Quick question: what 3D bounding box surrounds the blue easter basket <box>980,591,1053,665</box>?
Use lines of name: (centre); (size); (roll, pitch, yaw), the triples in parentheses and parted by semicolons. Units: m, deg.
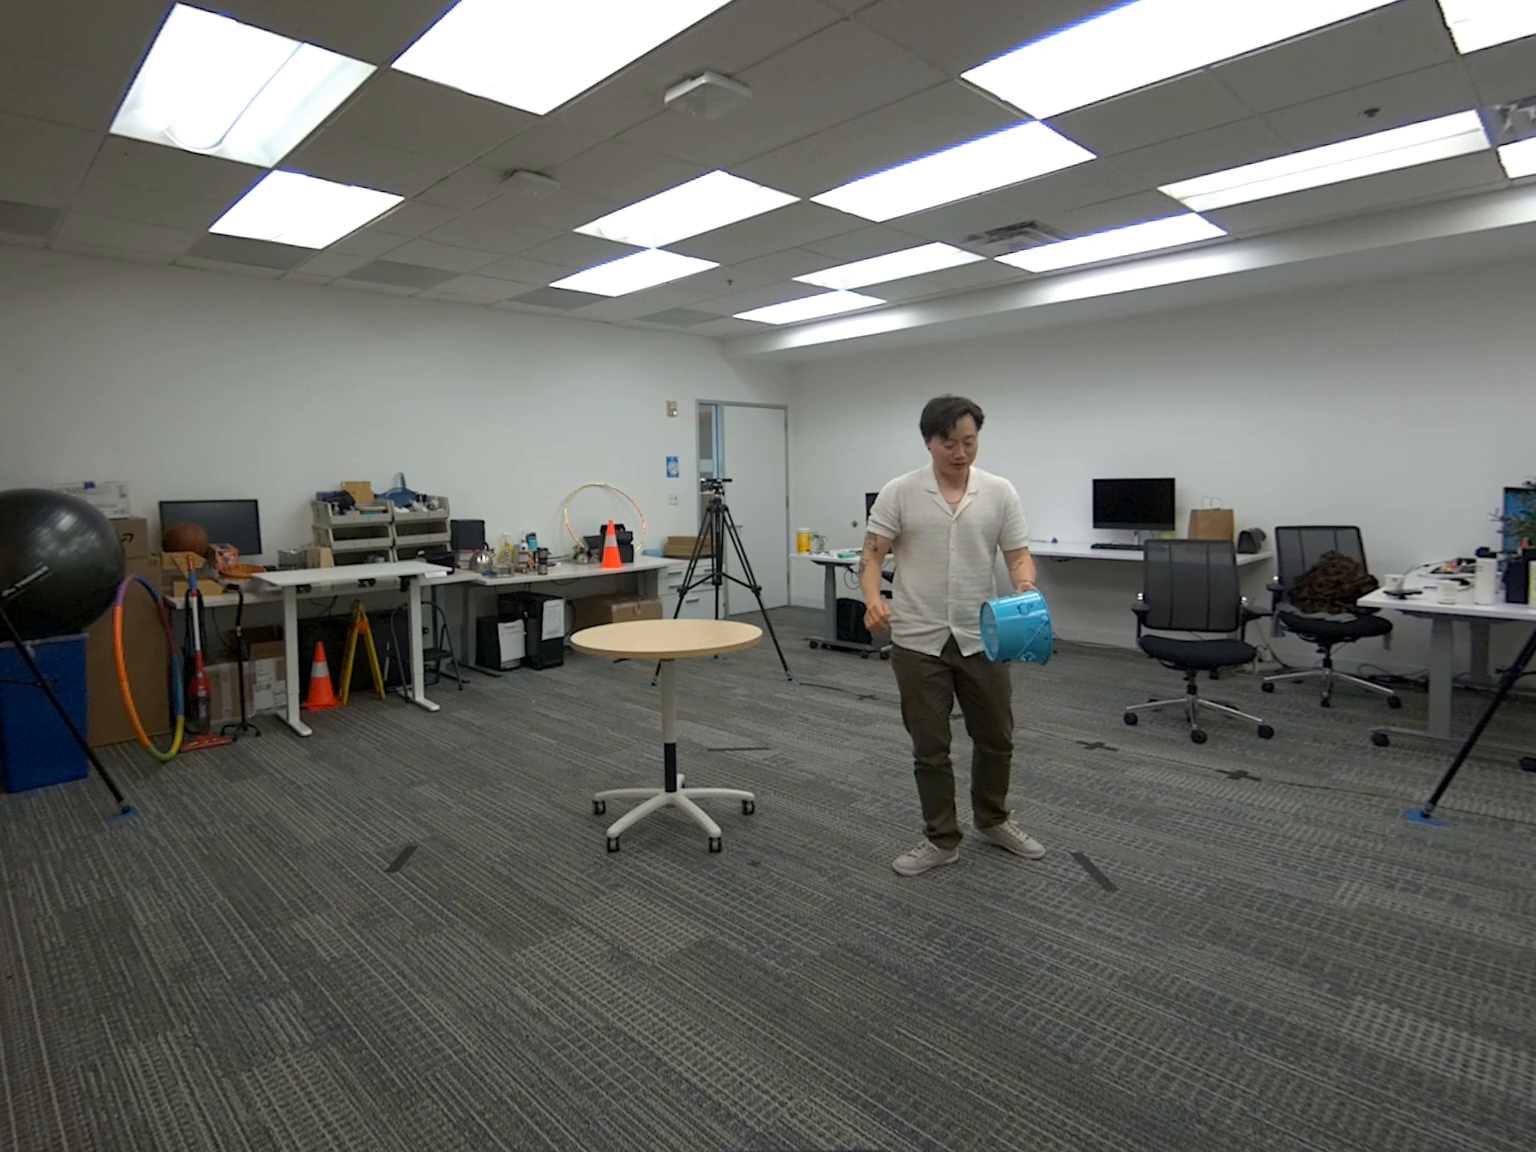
blue easter basket: (0.776, 0.180, 2.629); (0.156, 0.243, 0.244); (-1, 5, -1)
